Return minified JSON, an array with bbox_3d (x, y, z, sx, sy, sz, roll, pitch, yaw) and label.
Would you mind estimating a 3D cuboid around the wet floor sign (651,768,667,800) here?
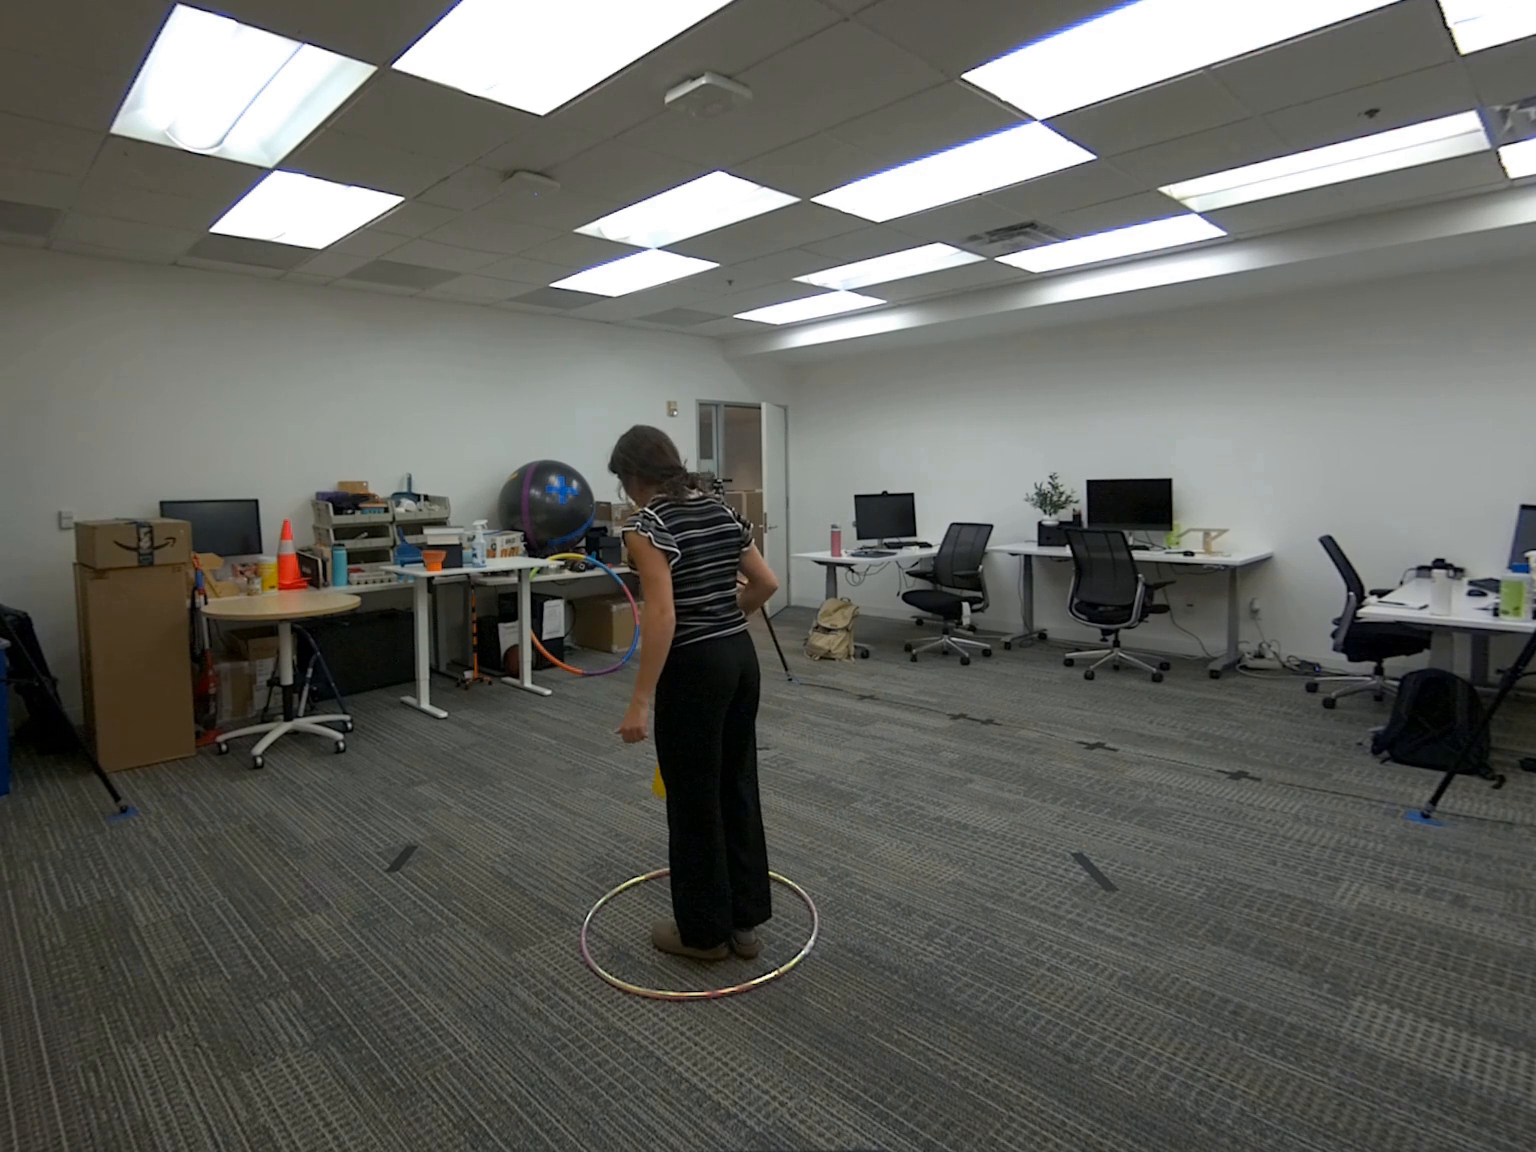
[{"bbox_3d":[-0.200,0.471,2.882,0.292,0.637,0.283,21,23,39],"label":"wet floor sign"}]
